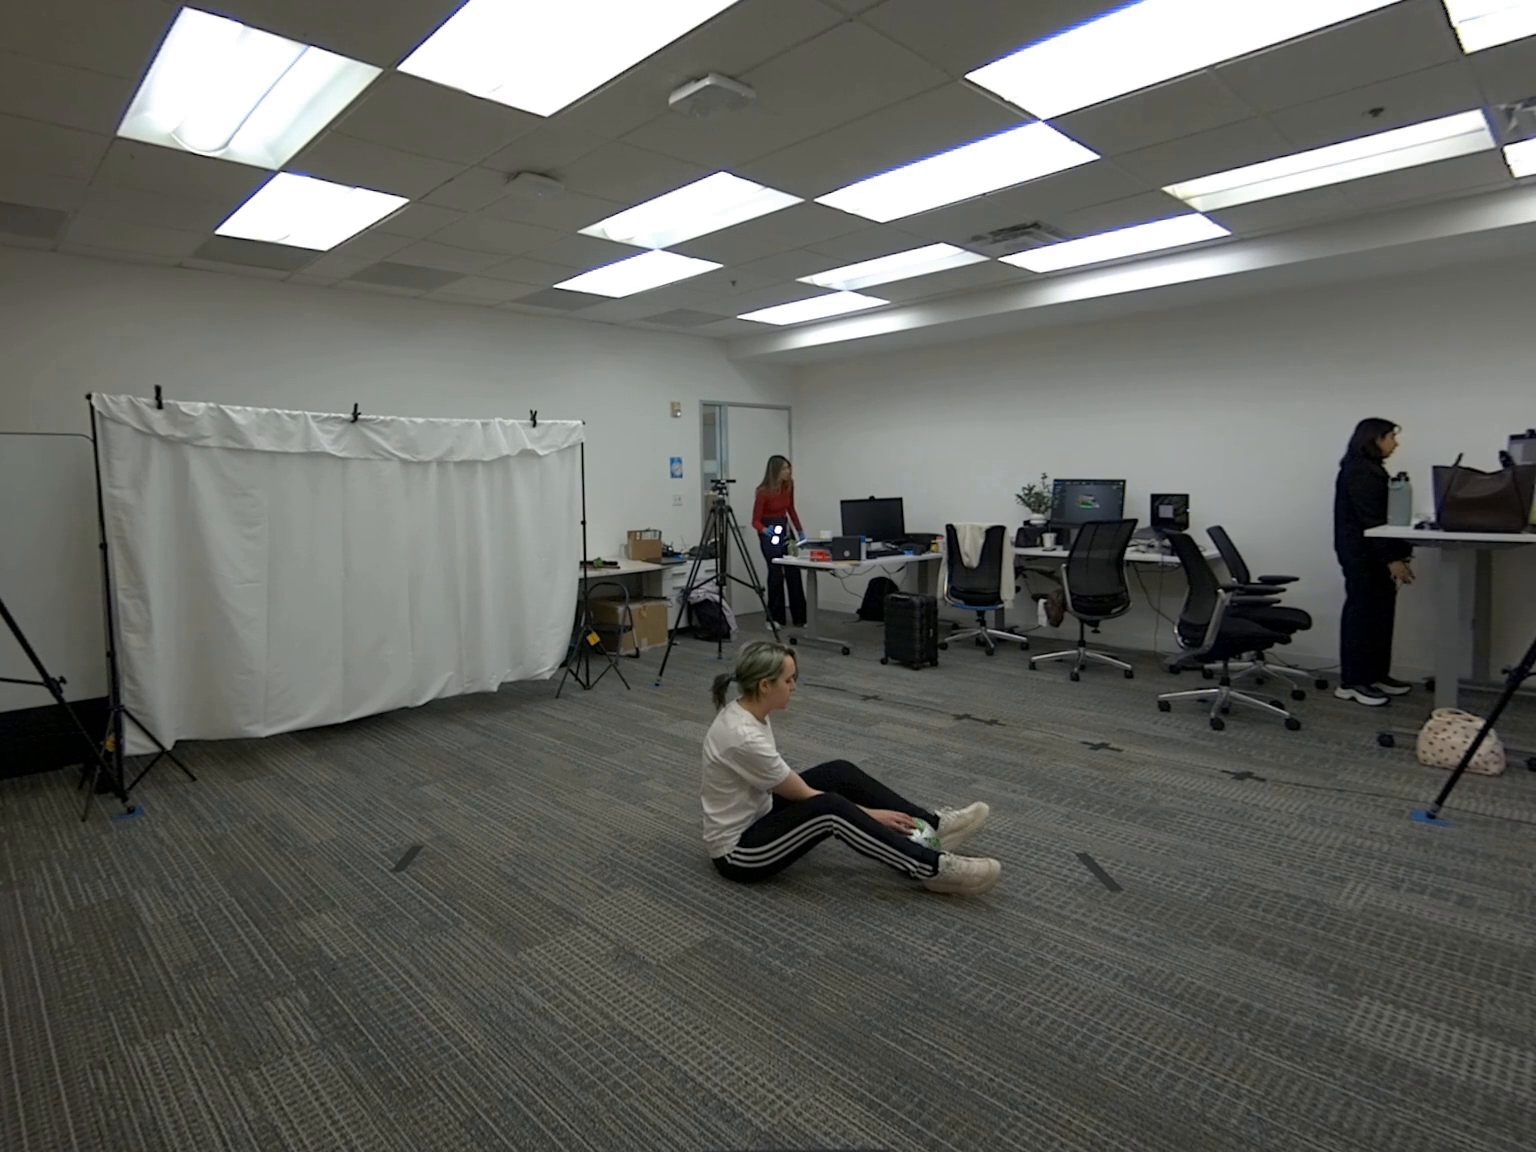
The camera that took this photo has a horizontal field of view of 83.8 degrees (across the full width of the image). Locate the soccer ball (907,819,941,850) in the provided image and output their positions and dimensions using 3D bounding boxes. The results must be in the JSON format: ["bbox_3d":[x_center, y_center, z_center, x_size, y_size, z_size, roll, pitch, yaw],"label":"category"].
[{"bbox_3d":[0.511,0.952,3.022,0.187,0.187,0.188,-1,5,-2],"label":"soccer ball"}]
